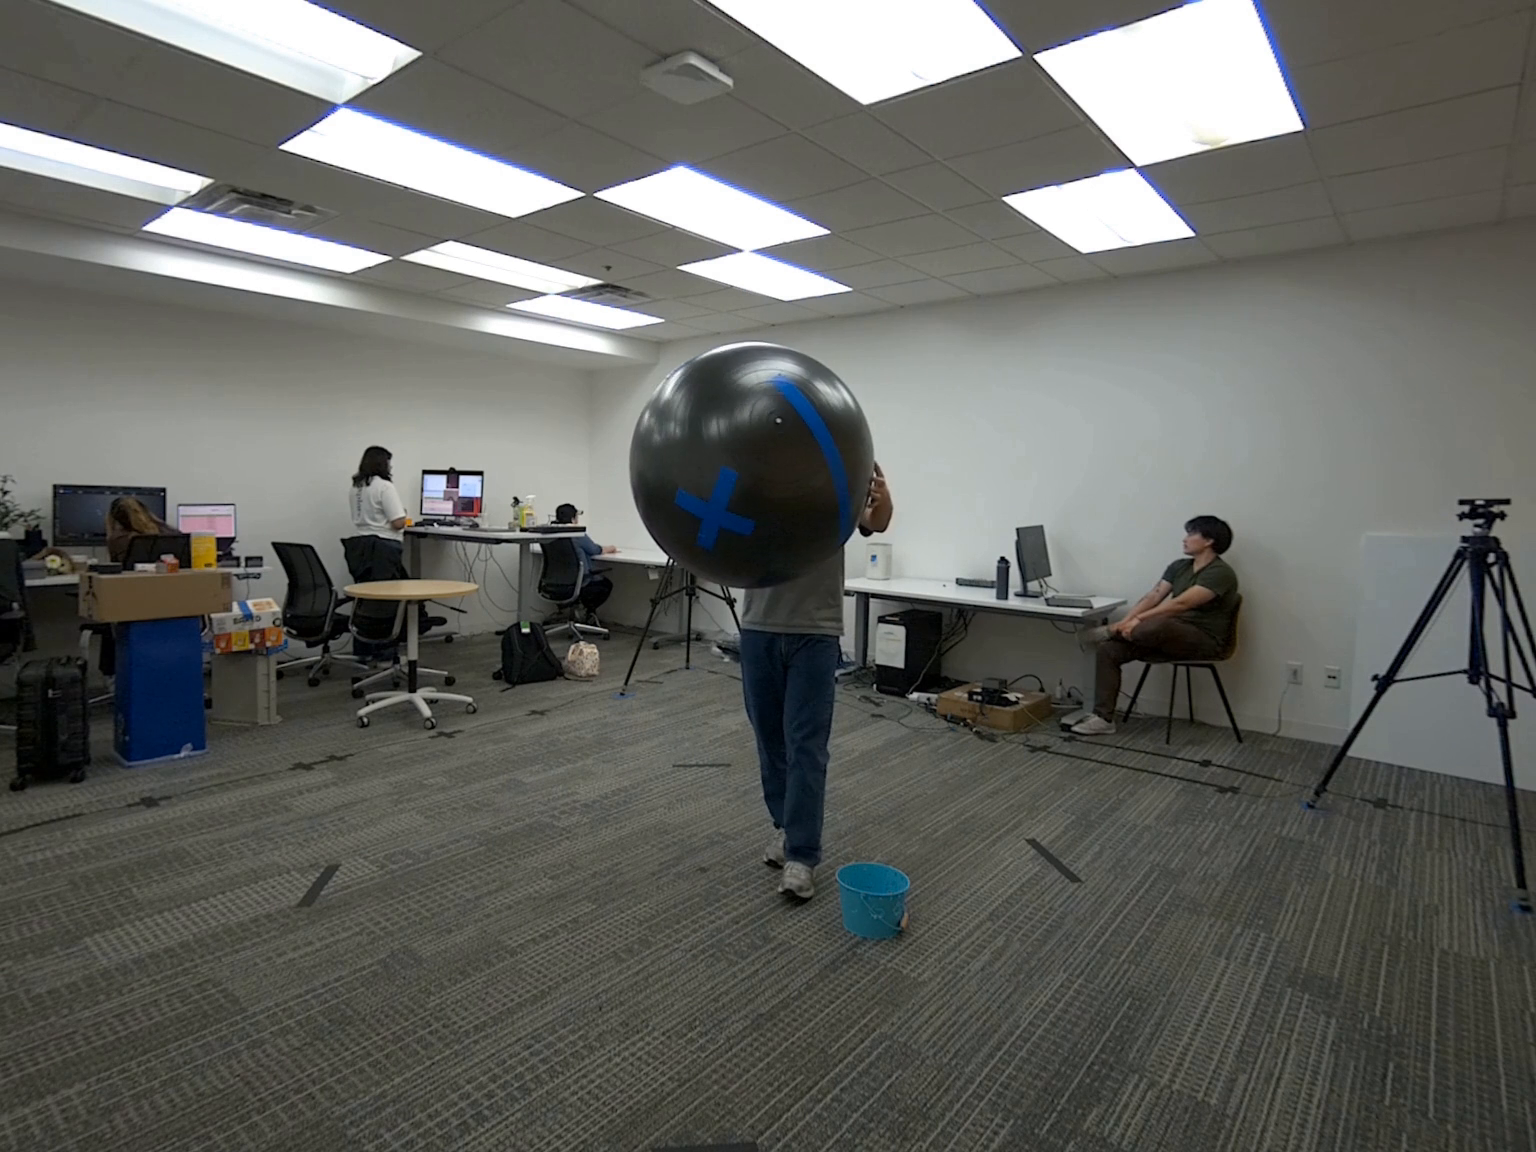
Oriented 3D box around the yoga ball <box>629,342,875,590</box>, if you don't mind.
[{"bbox_3d":[-0.065,-0.336,2.642,0.757,0.756,0.761,1,4,-2],"label":"yoga ball"}]
